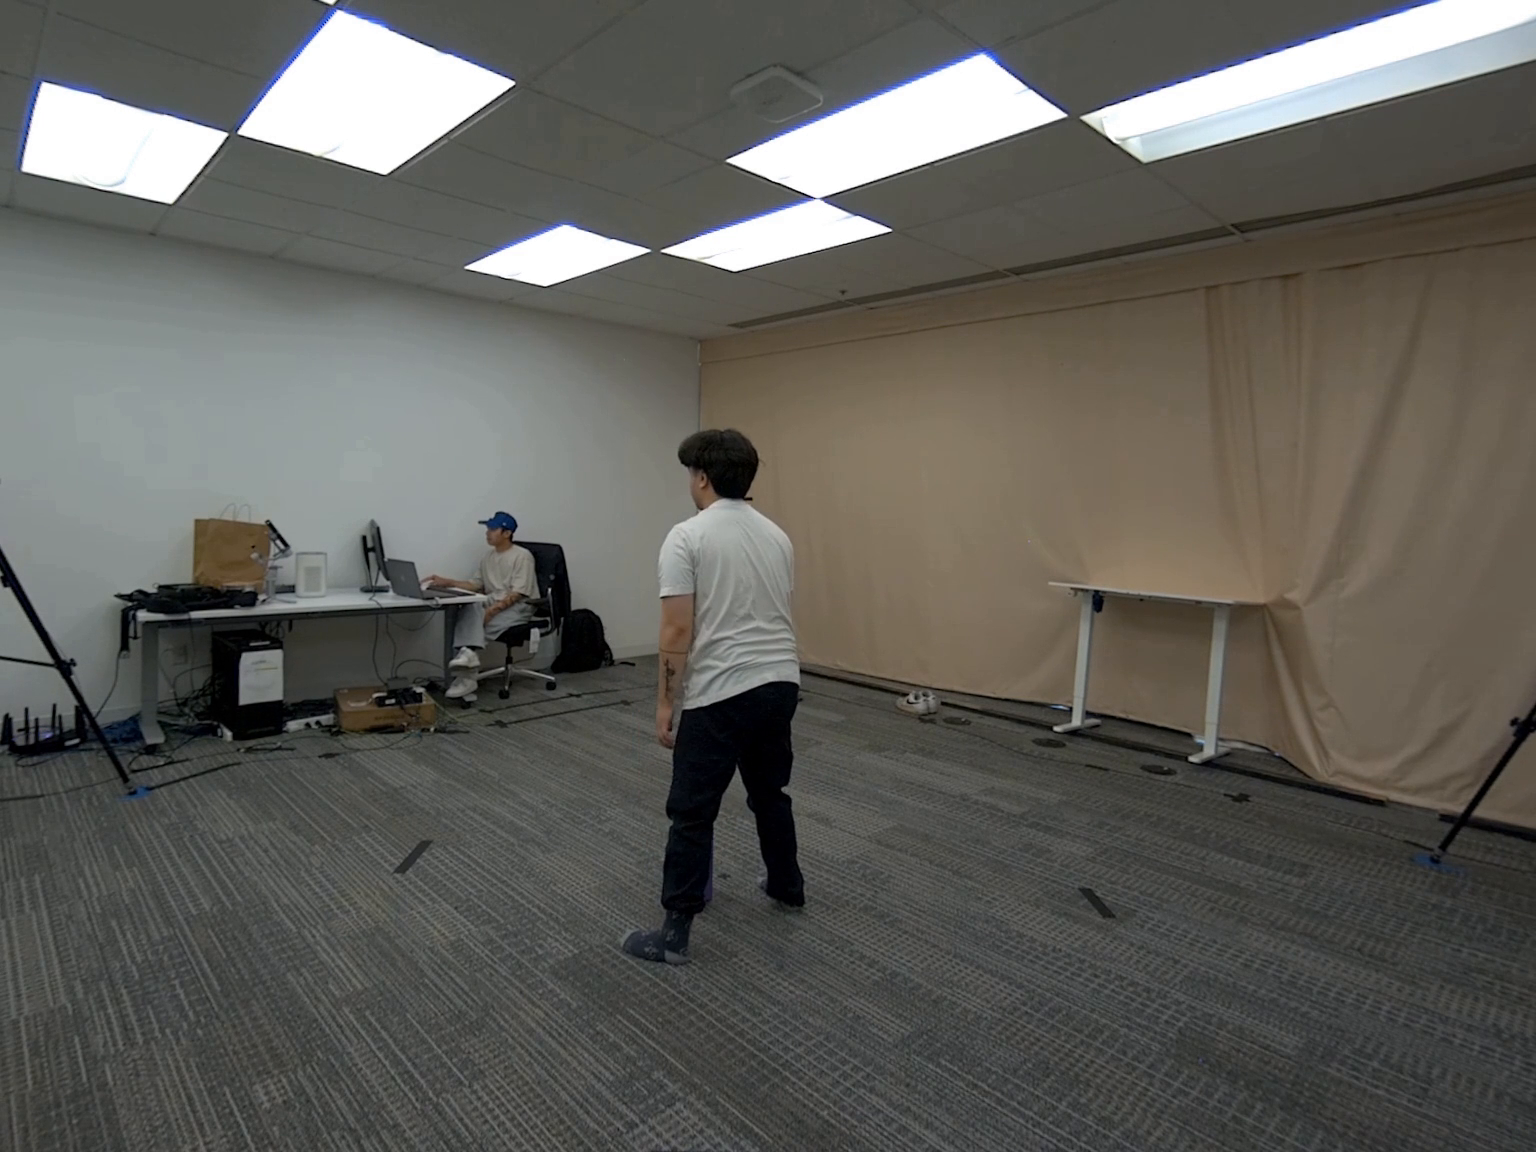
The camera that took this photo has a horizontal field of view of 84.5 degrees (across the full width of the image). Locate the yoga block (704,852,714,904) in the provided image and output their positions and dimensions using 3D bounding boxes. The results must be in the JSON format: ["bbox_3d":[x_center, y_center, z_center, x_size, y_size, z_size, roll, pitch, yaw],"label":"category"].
[{"bbox_3d":[-0.260,1.010,2.890,0.078,0.229,0.146,3,5,45],"label":"yoga block"}]
